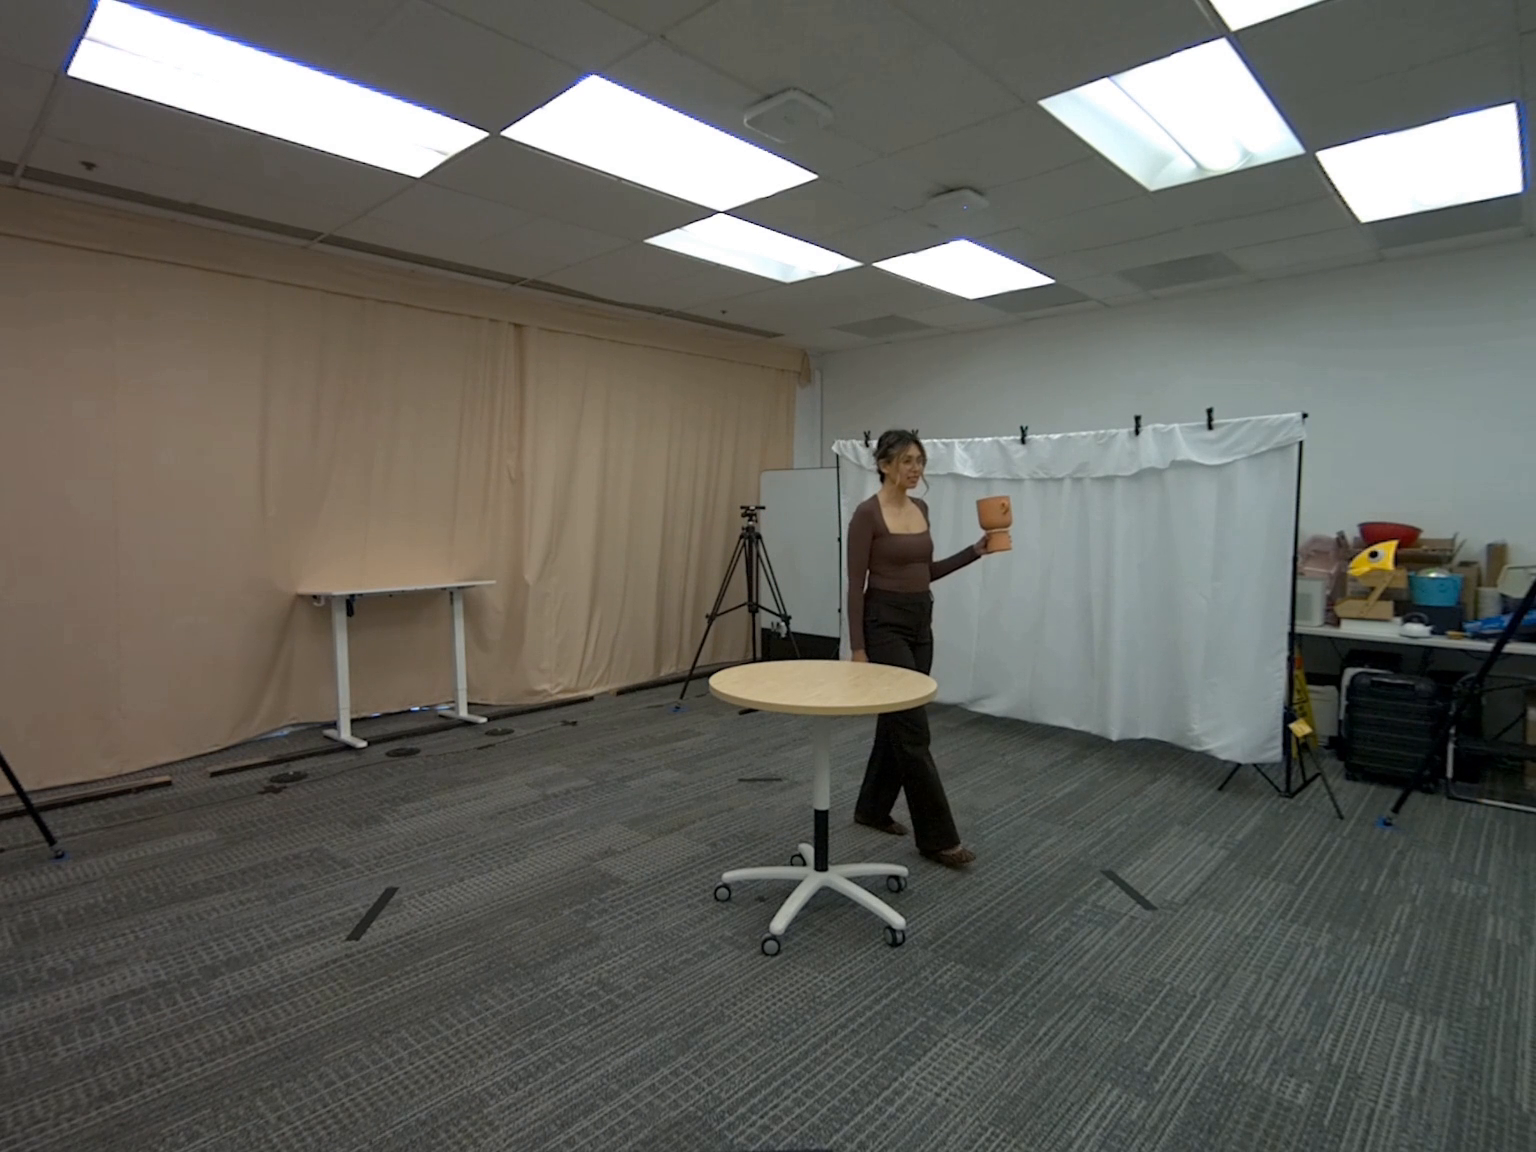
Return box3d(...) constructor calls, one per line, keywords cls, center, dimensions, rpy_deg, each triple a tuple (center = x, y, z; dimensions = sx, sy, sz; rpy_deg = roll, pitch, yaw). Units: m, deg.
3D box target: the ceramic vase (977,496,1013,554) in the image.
box3d(cls="ceramic vase", center=(0.943, -0.214, 3.462), dimensions=(0.138, 0.220, 0.155), rpy_deg=(-8, -3, 24))
